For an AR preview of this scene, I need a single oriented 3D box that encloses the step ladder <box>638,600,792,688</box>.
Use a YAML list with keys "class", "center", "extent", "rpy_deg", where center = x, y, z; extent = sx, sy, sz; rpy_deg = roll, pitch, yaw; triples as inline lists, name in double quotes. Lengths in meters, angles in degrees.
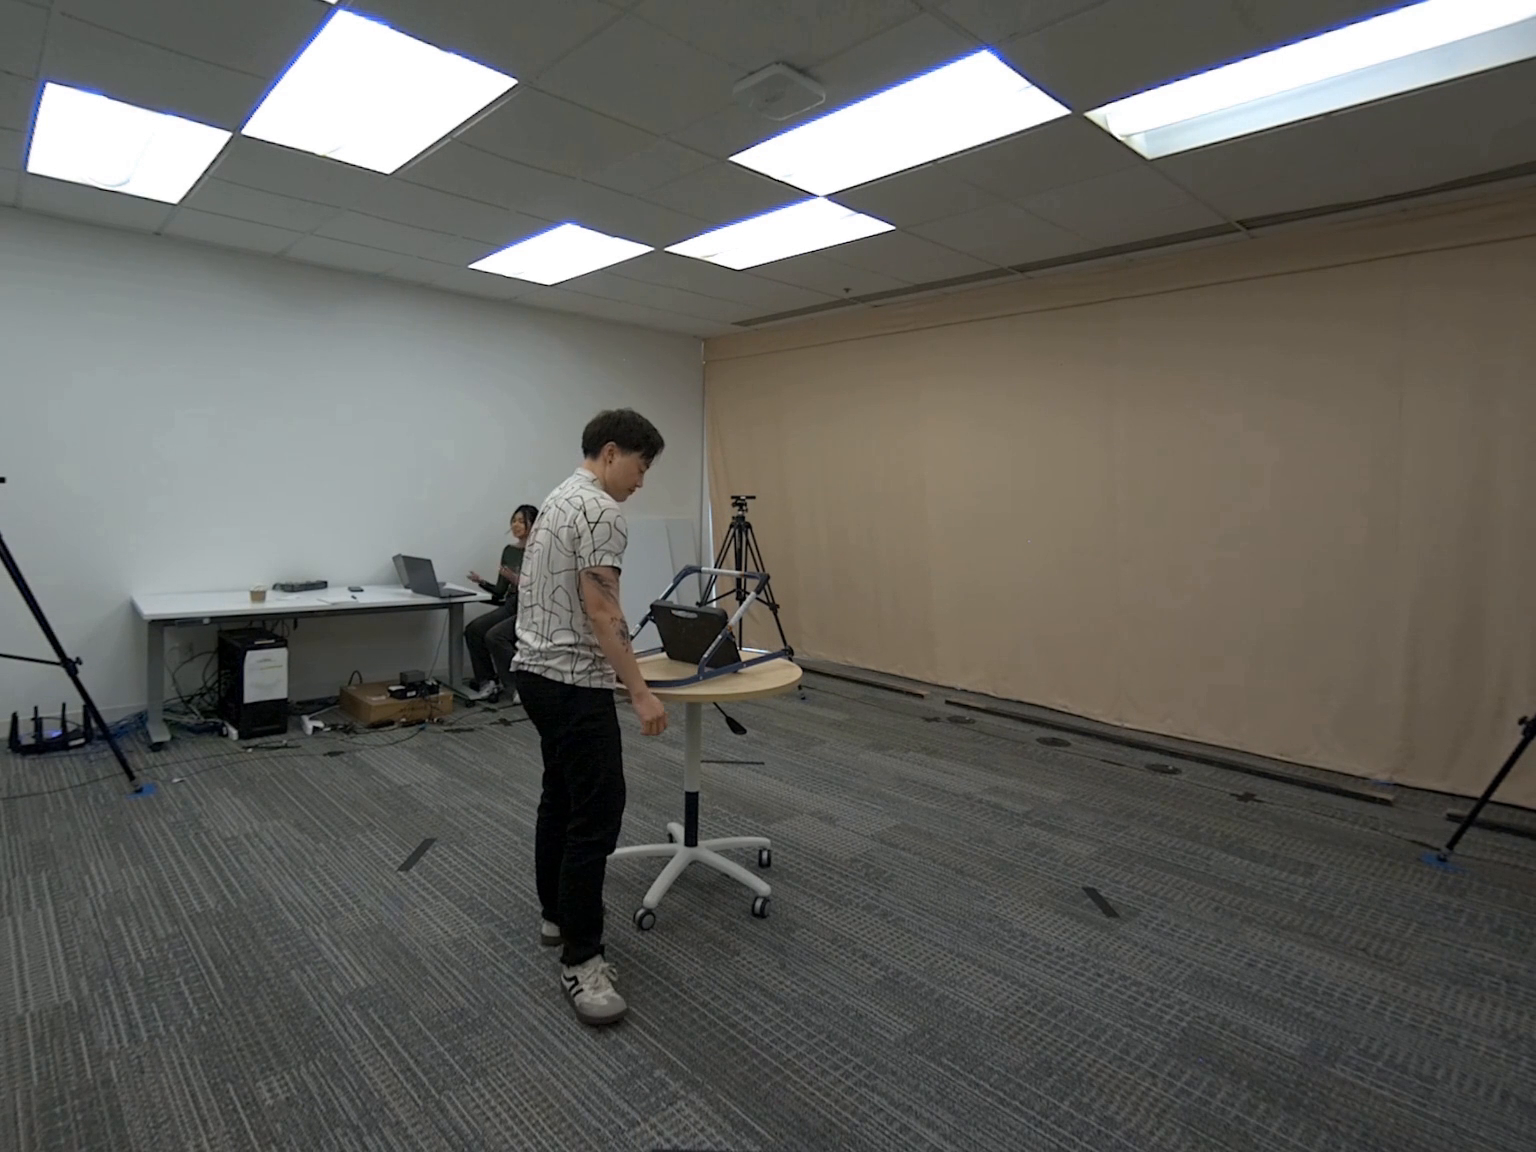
- class: "step ladder"
  center: [-0.285, 0.263, 2.954]
  extent: [0.441, 0.343, 0.602]
  rpy_deg: [4, 30, 40]
